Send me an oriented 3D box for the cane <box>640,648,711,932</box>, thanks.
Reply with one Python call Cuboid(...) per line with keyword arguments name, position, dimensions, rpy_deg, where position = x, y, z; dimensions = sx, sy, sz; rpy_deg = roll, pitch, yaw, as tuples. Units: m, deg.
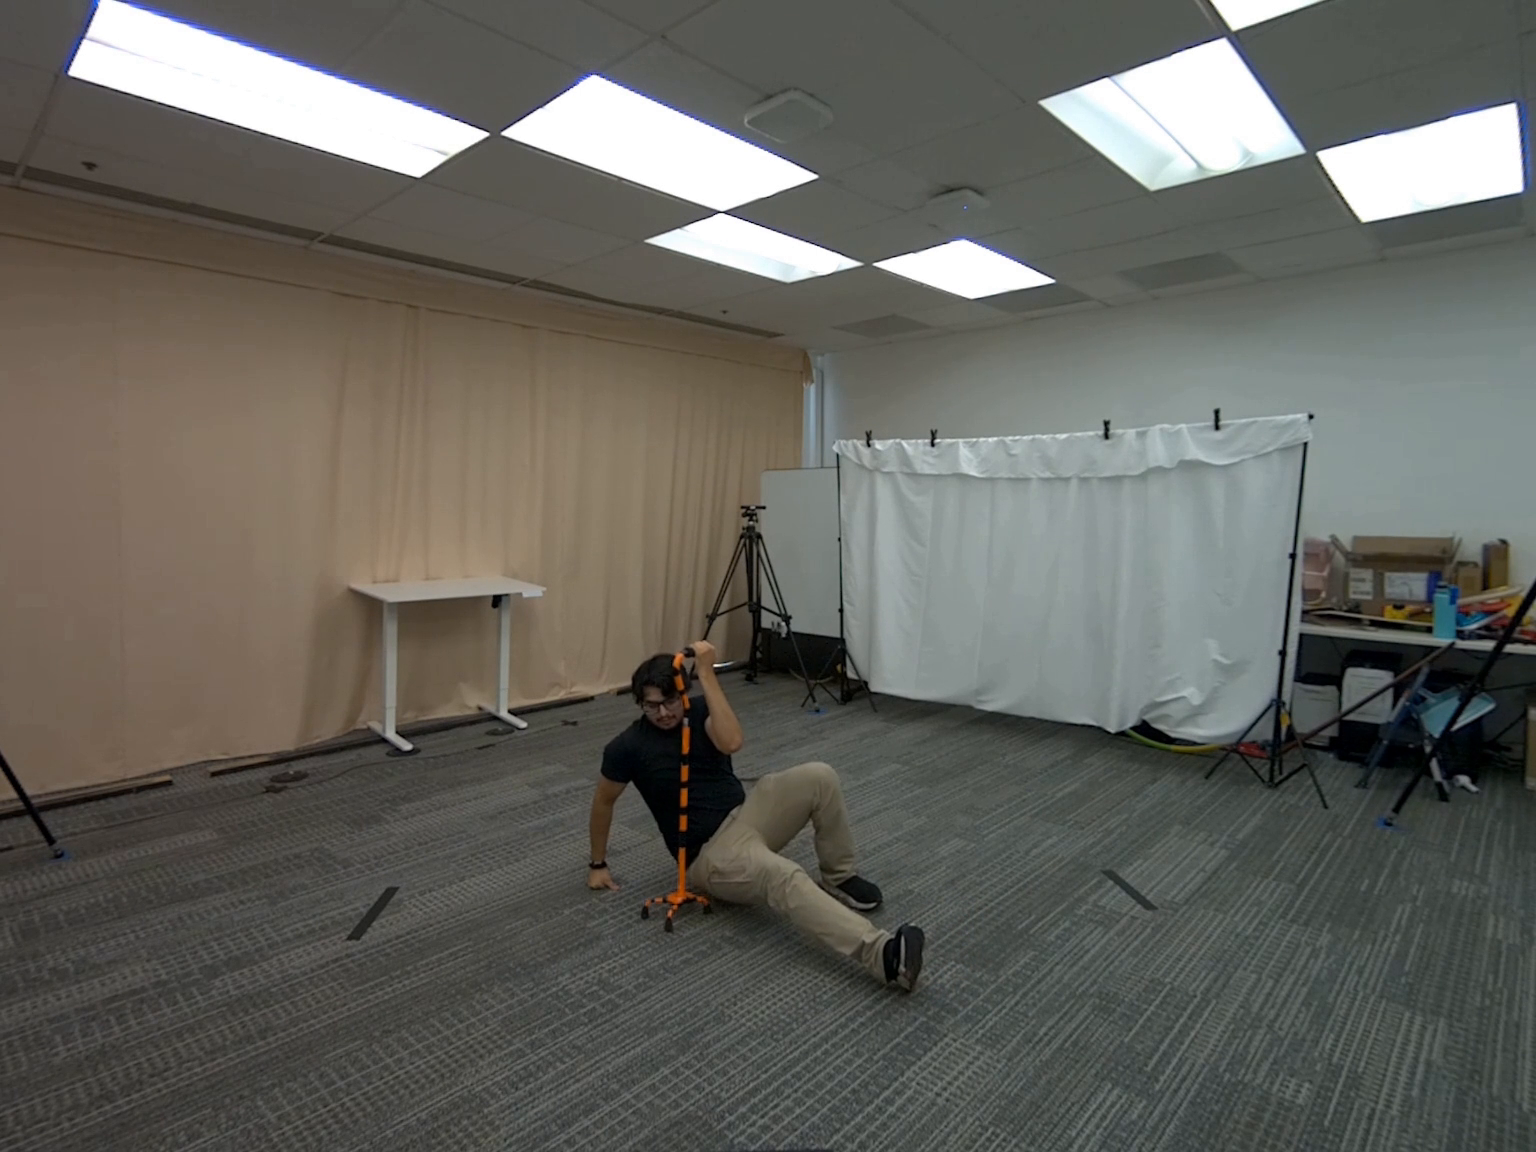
Cuboid(name="cane", position=(-0.298, 0.690, 2.861), dimensions=(0.200, 0.907, 0.156), rpy_deg=(0, 1, -43))
